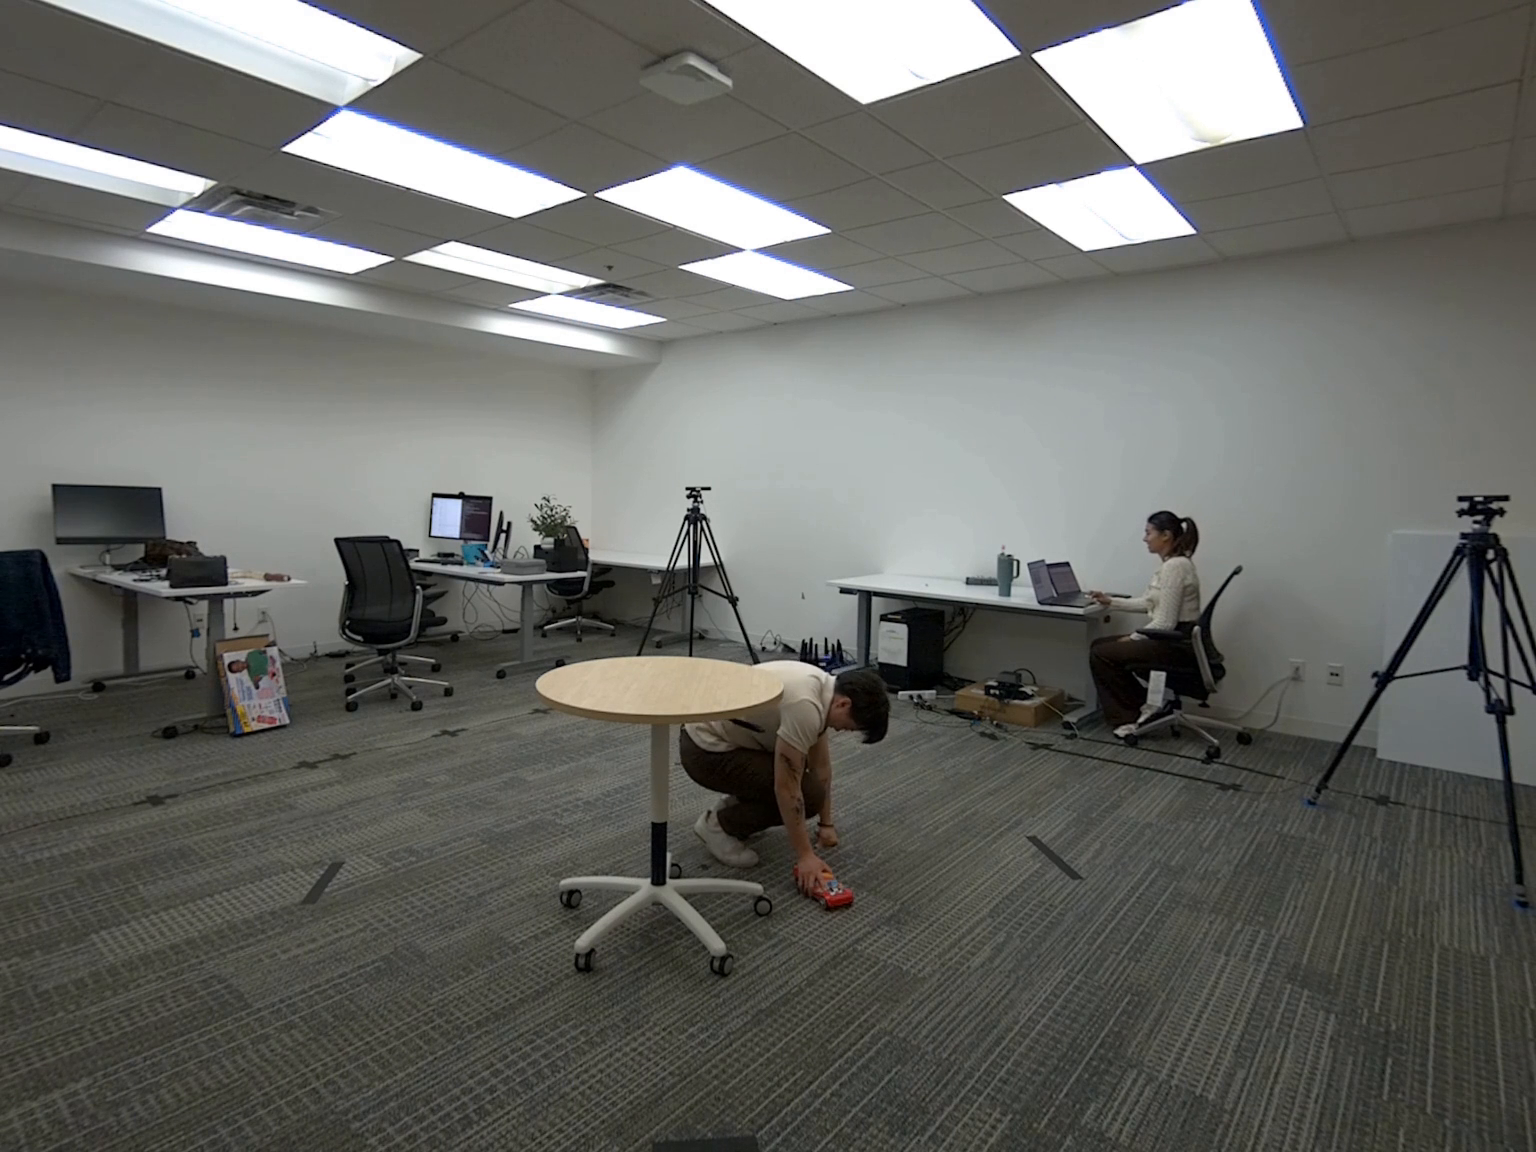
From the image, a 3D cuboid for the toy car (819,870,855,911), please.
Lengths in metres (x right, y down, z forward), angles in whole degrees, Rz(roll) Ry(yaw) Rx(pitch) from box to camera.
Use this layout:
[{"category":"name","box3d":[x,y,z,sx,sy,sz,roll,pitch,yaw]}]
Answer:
[{"category":"toy car","box3d":[0.185,1.061,2.928,0.127,0.082,0.264,-3,16,-27]}]
